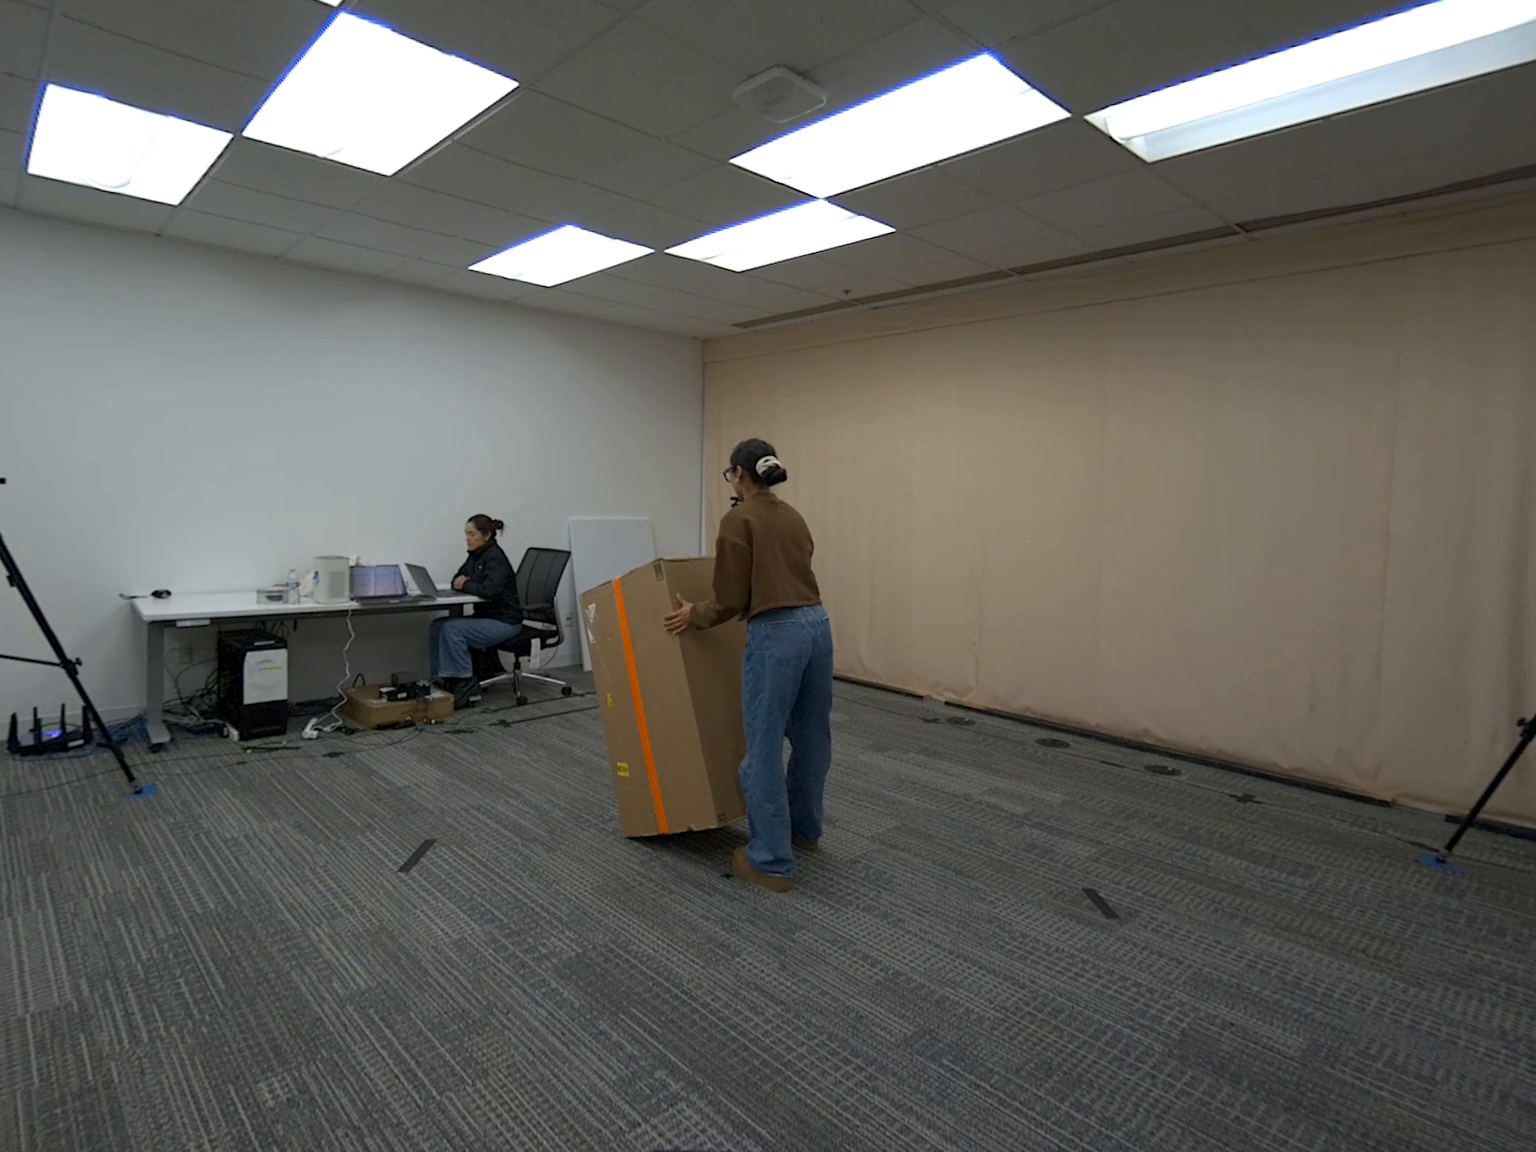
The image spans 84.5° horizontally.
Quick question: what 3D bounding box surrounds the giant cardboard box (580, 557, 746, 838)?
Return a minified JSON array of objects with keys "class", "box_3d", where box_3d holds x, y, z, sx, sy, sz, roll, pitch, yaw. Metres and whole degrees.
[{"class":"giant cardboard box","box_3d":[-0.377,0.495,3.490,0.416,1.036,0.585,-2,-16,-46]}]
